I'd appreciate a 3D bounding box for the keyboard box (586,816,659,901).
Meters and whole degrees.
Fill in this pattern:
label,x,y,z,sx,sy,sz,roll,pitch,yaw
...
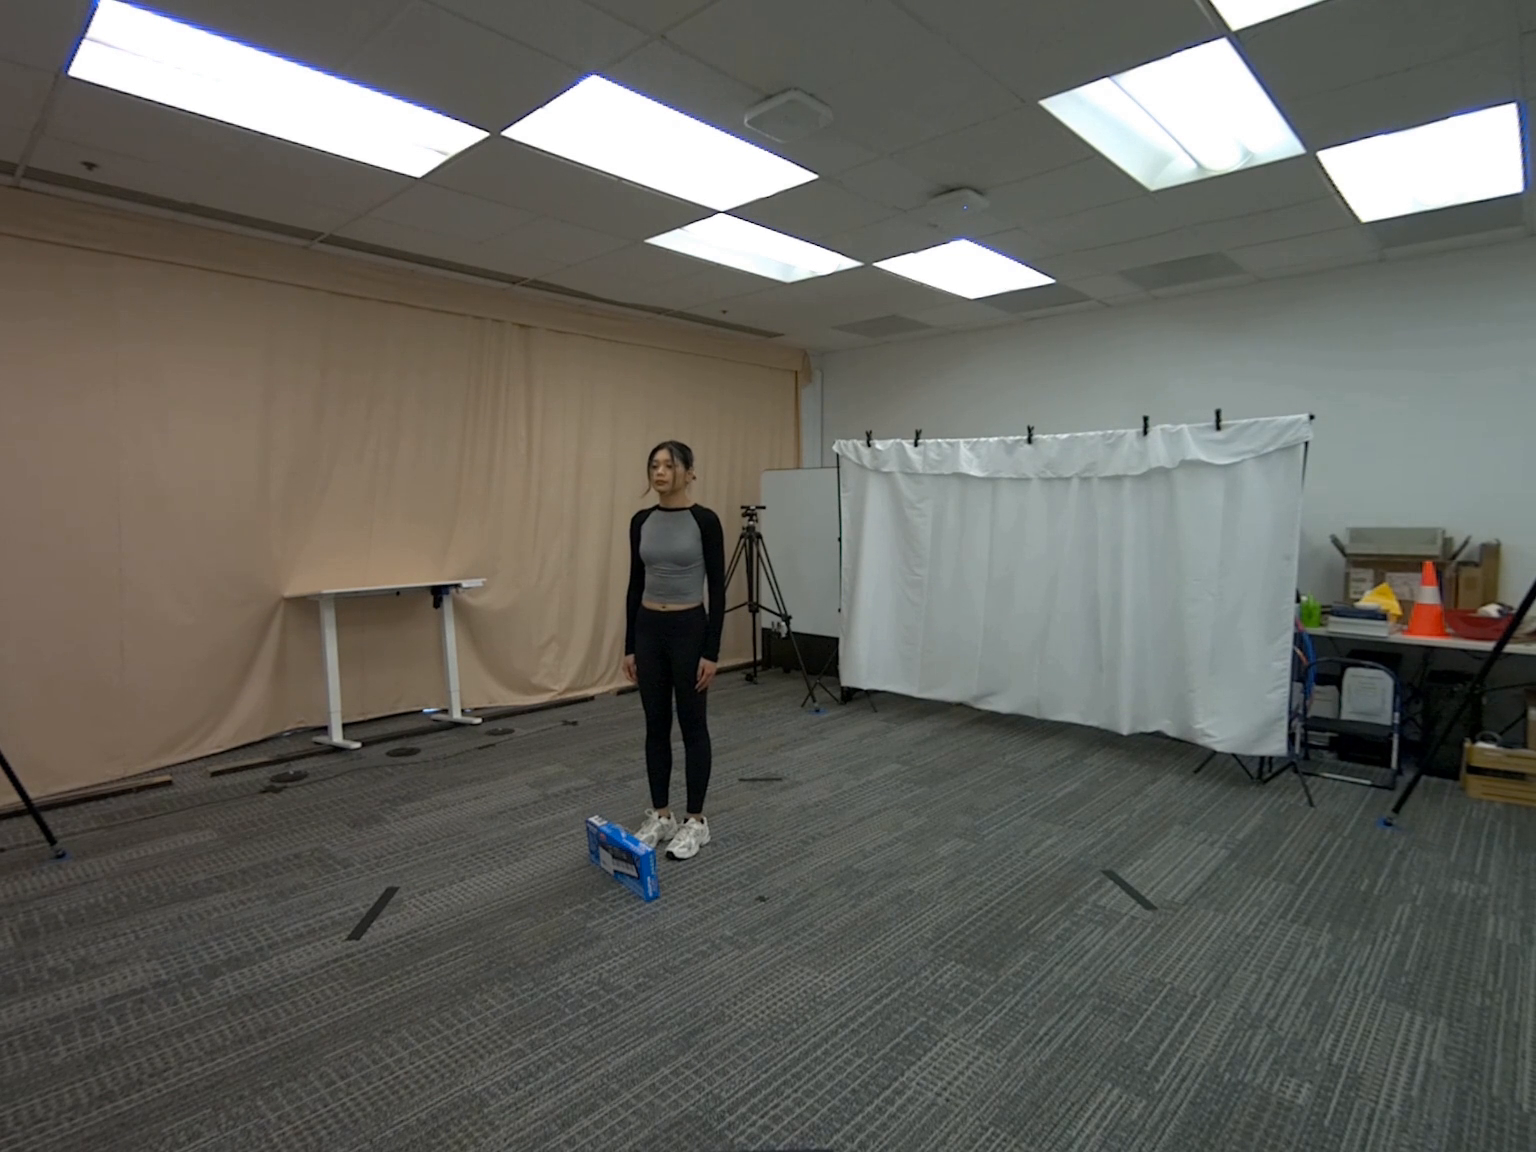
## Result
label,x,y,z,sx,sy,sz,roll,pitch,yaw
keyboard box,-0.549,1.046,3.150,0.057,0.175,0.451,-9,8,-37
